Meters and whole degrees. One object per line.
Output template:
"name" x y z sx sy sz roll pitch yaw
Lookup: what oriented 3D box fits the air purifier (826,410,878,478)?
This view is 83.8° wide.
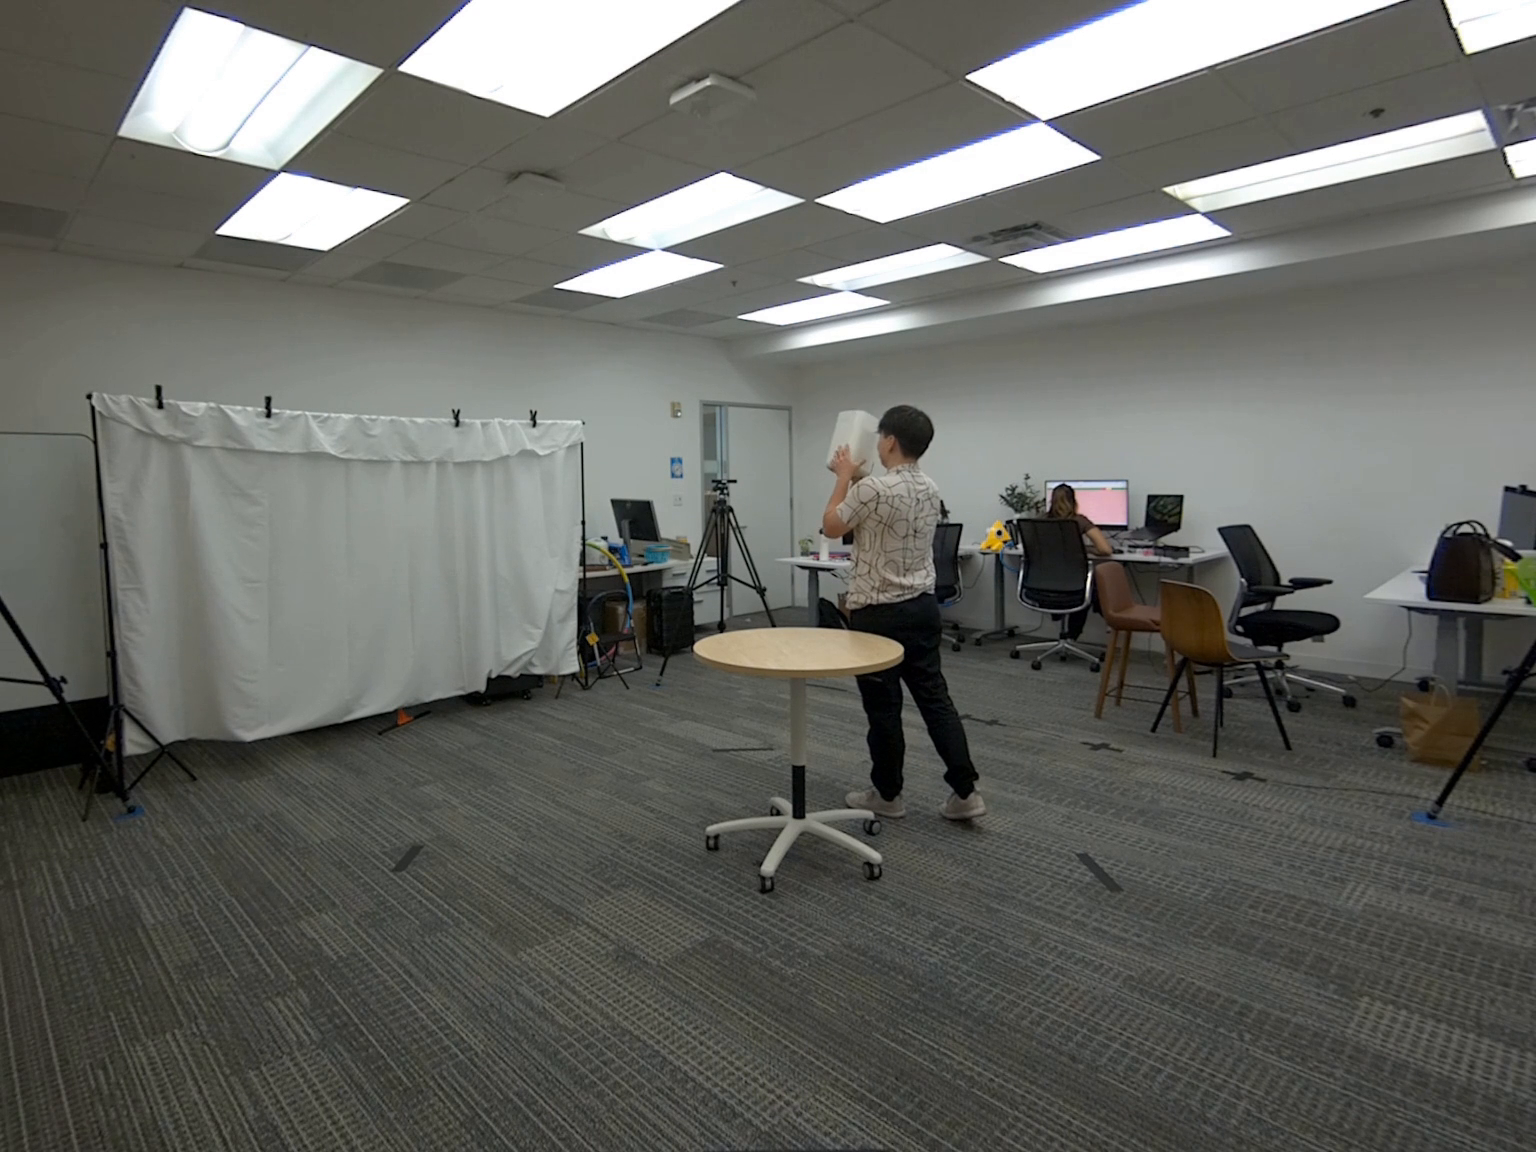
"air purifier" 0.378 -0.571 3.733 0.165 0.267 0.176 21 -10 -38
